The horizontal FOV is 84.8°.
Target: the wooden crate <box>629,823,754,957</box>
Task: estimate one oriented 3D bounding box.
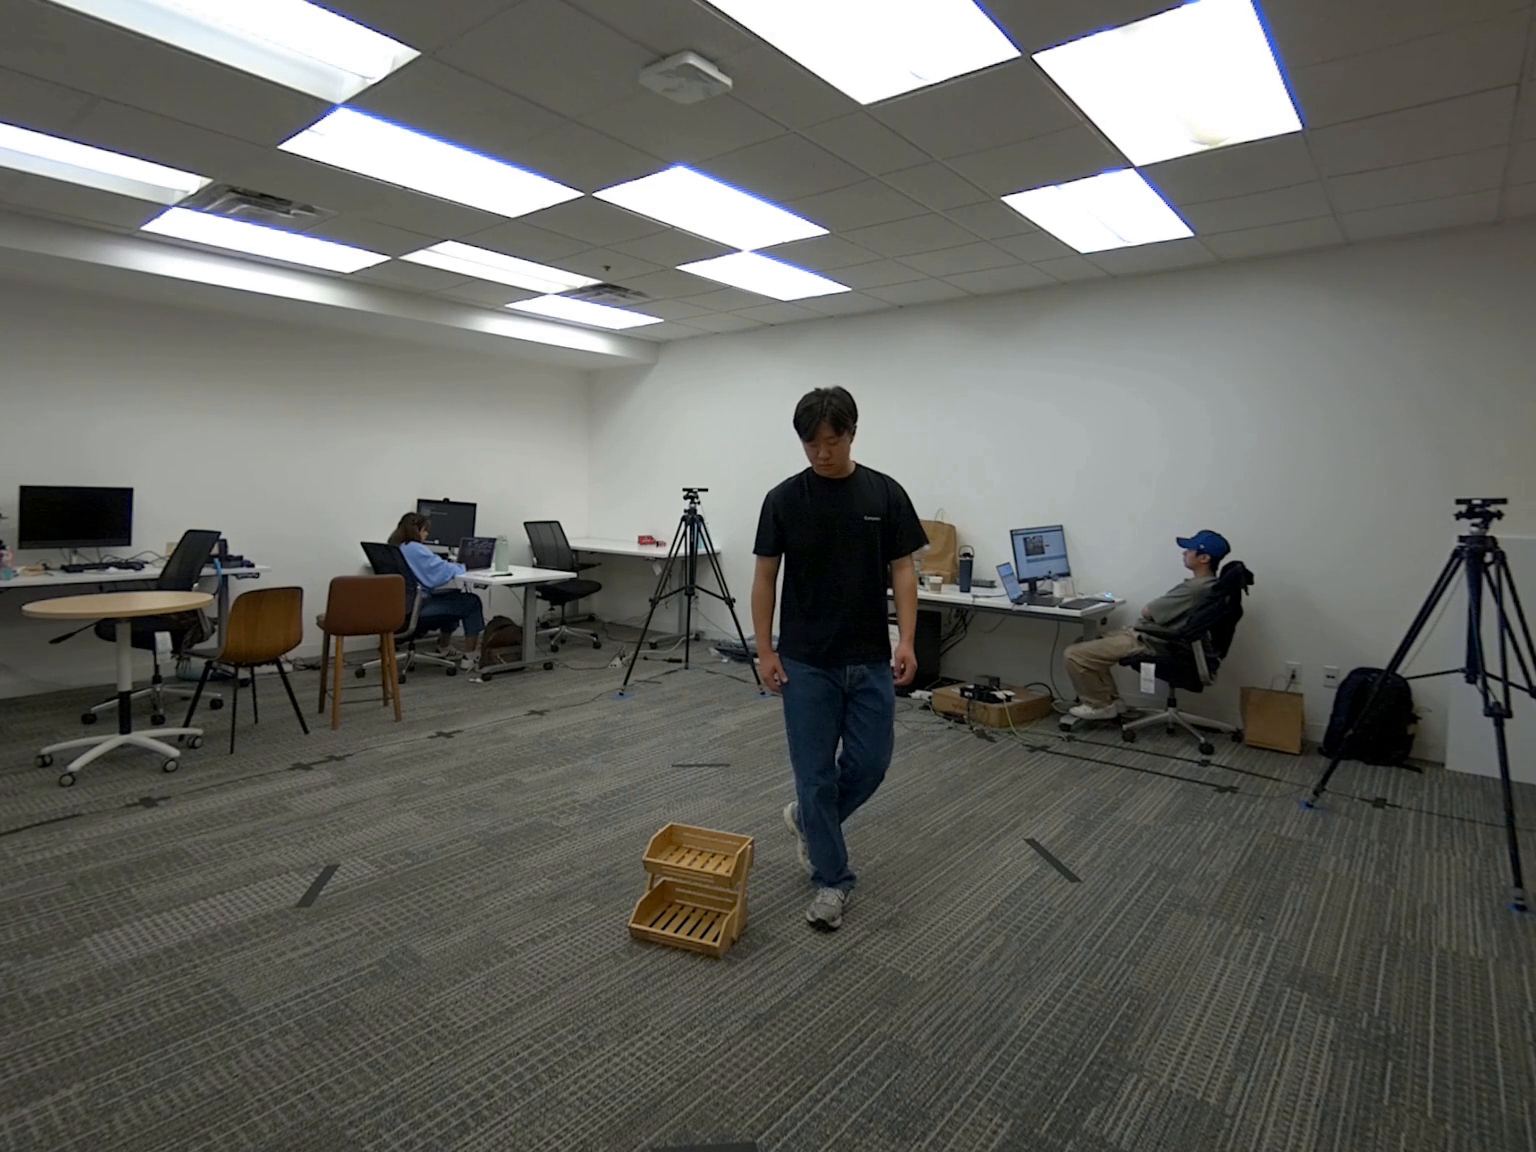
[{"bbox_3d":[-0.246,0.976,2.681,0.332,0.273,0.296,3,4,20],"label":"wooden crate"}]
